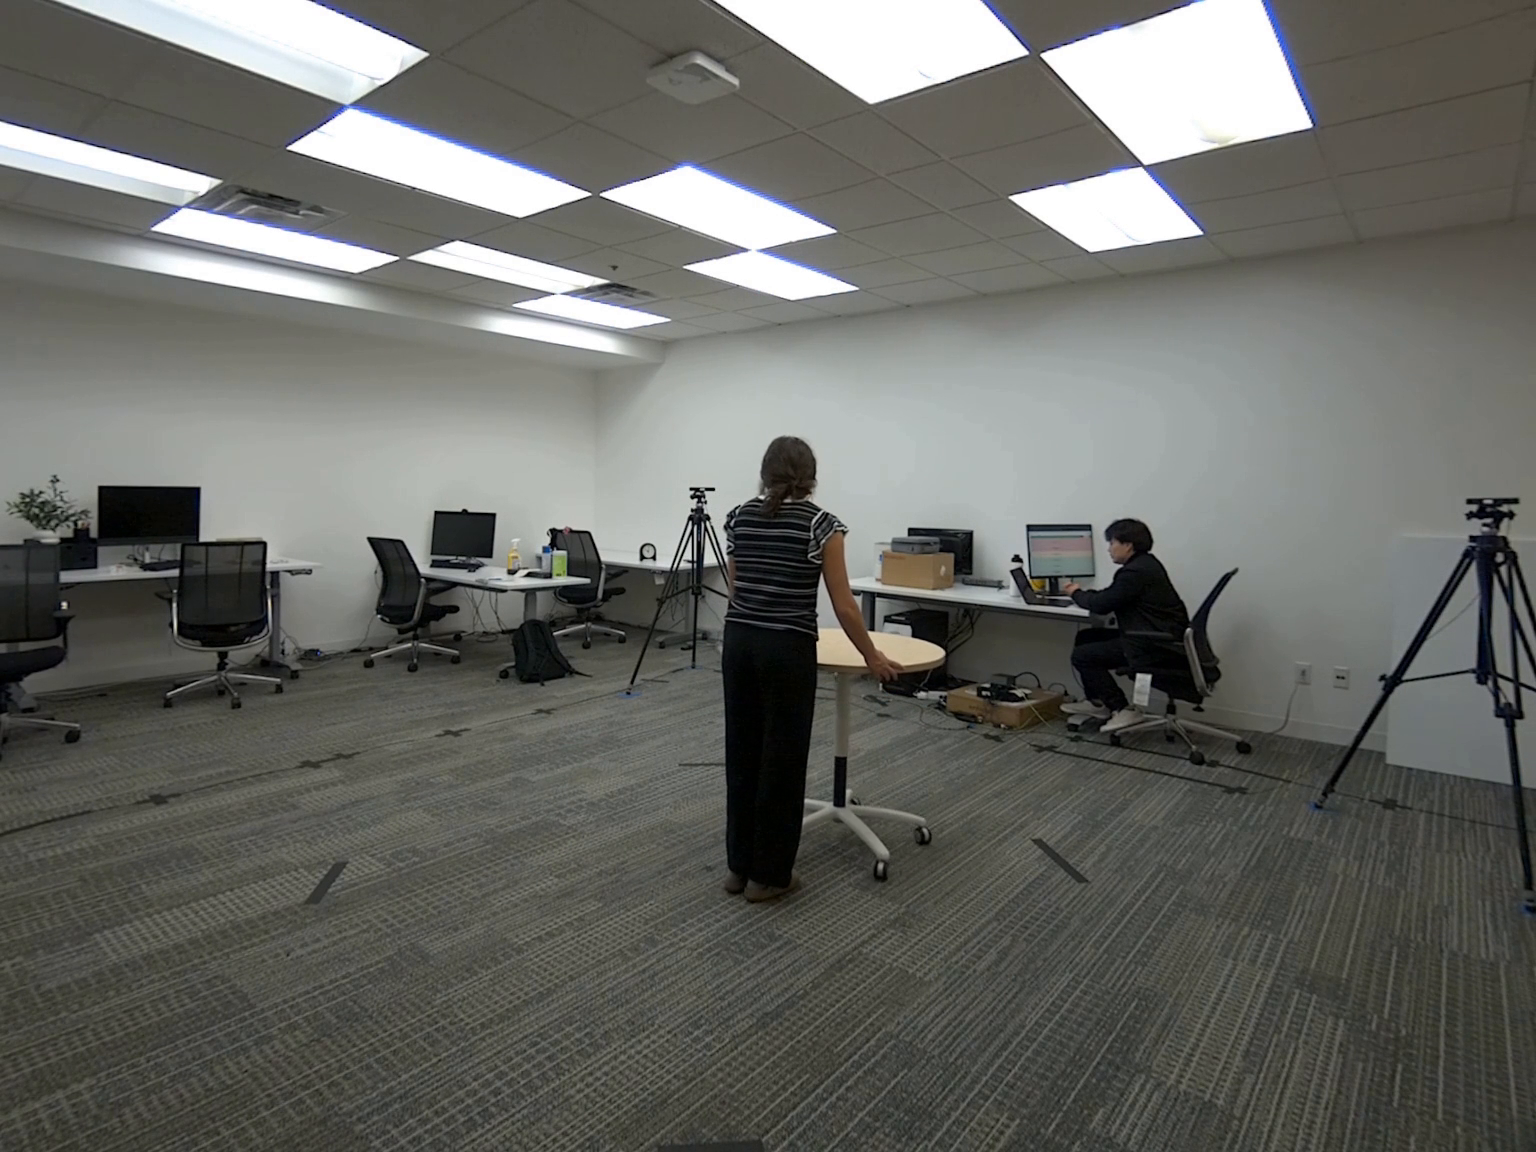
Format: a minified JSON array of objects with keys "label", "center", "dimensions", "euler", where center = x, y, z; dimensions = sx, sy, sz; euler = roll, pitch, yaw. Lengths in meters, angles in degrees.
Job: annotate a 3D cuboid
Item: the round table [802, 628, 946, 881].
[{"label":"round table","center":[0.295,0.657,3.367],"dimensions":[0.784,0.784,0.789],"euler":[1,4,-2]}]
